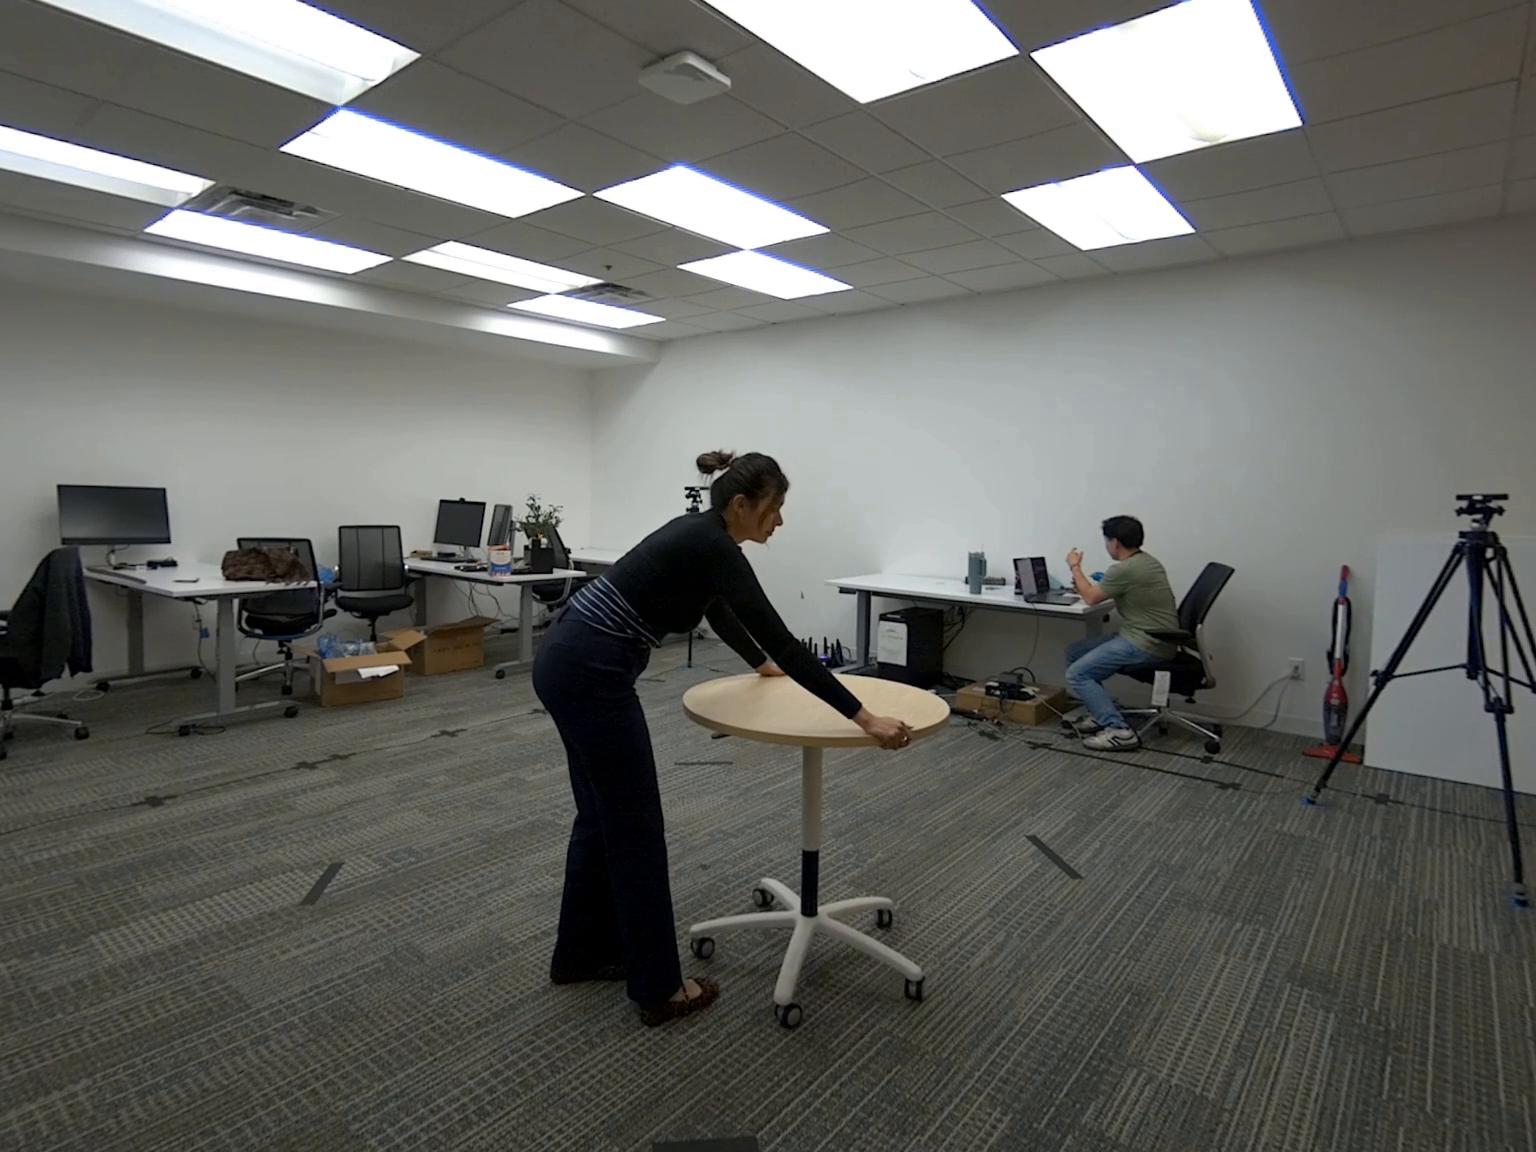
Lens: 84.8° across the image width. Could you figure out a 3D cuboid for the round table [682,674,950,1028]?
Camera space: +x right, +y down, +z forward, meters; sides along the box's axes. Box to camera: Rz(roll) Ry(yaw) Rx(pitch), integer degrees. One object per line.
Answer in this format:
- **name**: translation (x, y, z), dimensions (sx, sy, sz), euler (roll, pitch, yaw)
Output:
- **round table**: translation (0.118, 0.746, 2.506), dimensions (0.763, 0.791, 0.768), euler (1, 4, -2)
